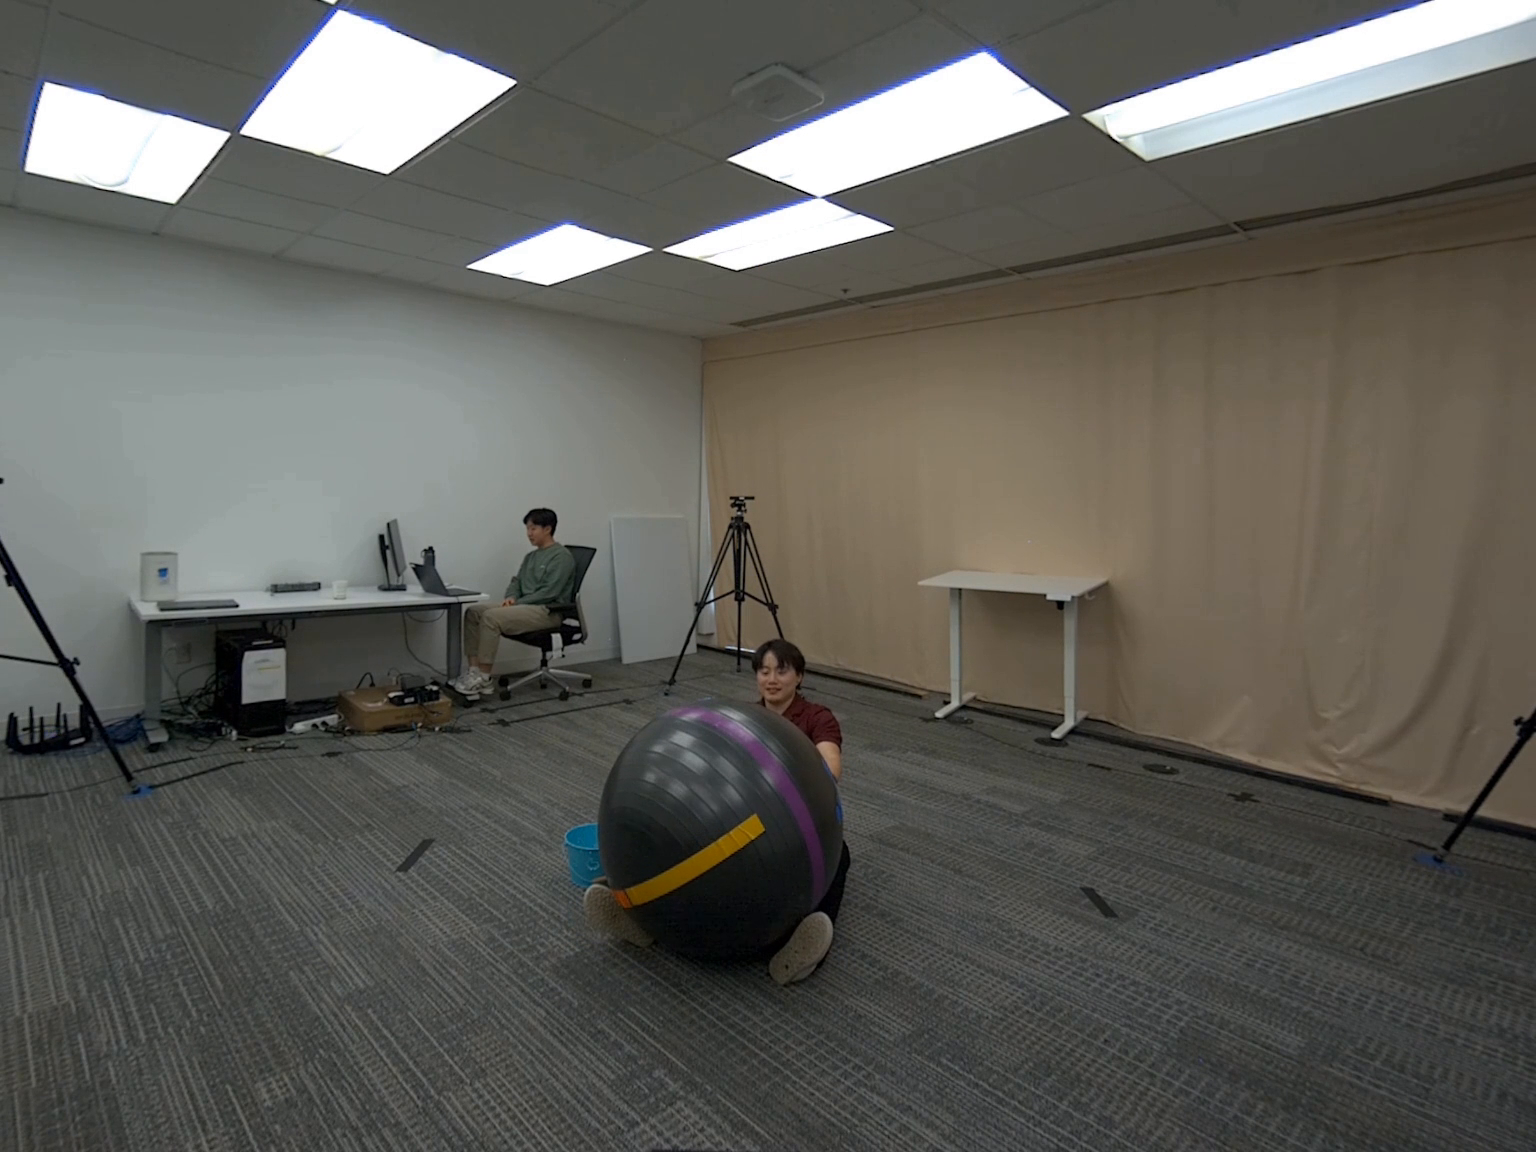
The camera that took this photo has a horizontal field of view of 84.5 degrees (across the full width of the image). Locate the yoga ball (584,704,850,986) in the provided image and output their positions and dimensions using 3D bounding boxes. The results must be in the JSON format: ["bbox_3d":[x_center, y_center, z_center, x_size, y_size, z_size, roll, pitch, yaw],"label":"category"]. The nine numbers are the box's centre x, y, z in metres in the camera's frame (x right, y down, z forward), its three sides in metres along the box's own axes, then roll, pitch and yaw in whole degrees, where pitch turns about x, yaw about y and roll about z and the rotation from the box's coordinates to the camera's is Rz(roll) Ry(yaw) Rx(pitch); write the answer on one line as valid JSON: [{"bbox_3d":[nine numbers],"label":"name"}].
[{"bbox_3d":[-0.150,0.776,2.603,0.757,0.756,0.761,1,4,-1],"label":"yoga ball"}]
